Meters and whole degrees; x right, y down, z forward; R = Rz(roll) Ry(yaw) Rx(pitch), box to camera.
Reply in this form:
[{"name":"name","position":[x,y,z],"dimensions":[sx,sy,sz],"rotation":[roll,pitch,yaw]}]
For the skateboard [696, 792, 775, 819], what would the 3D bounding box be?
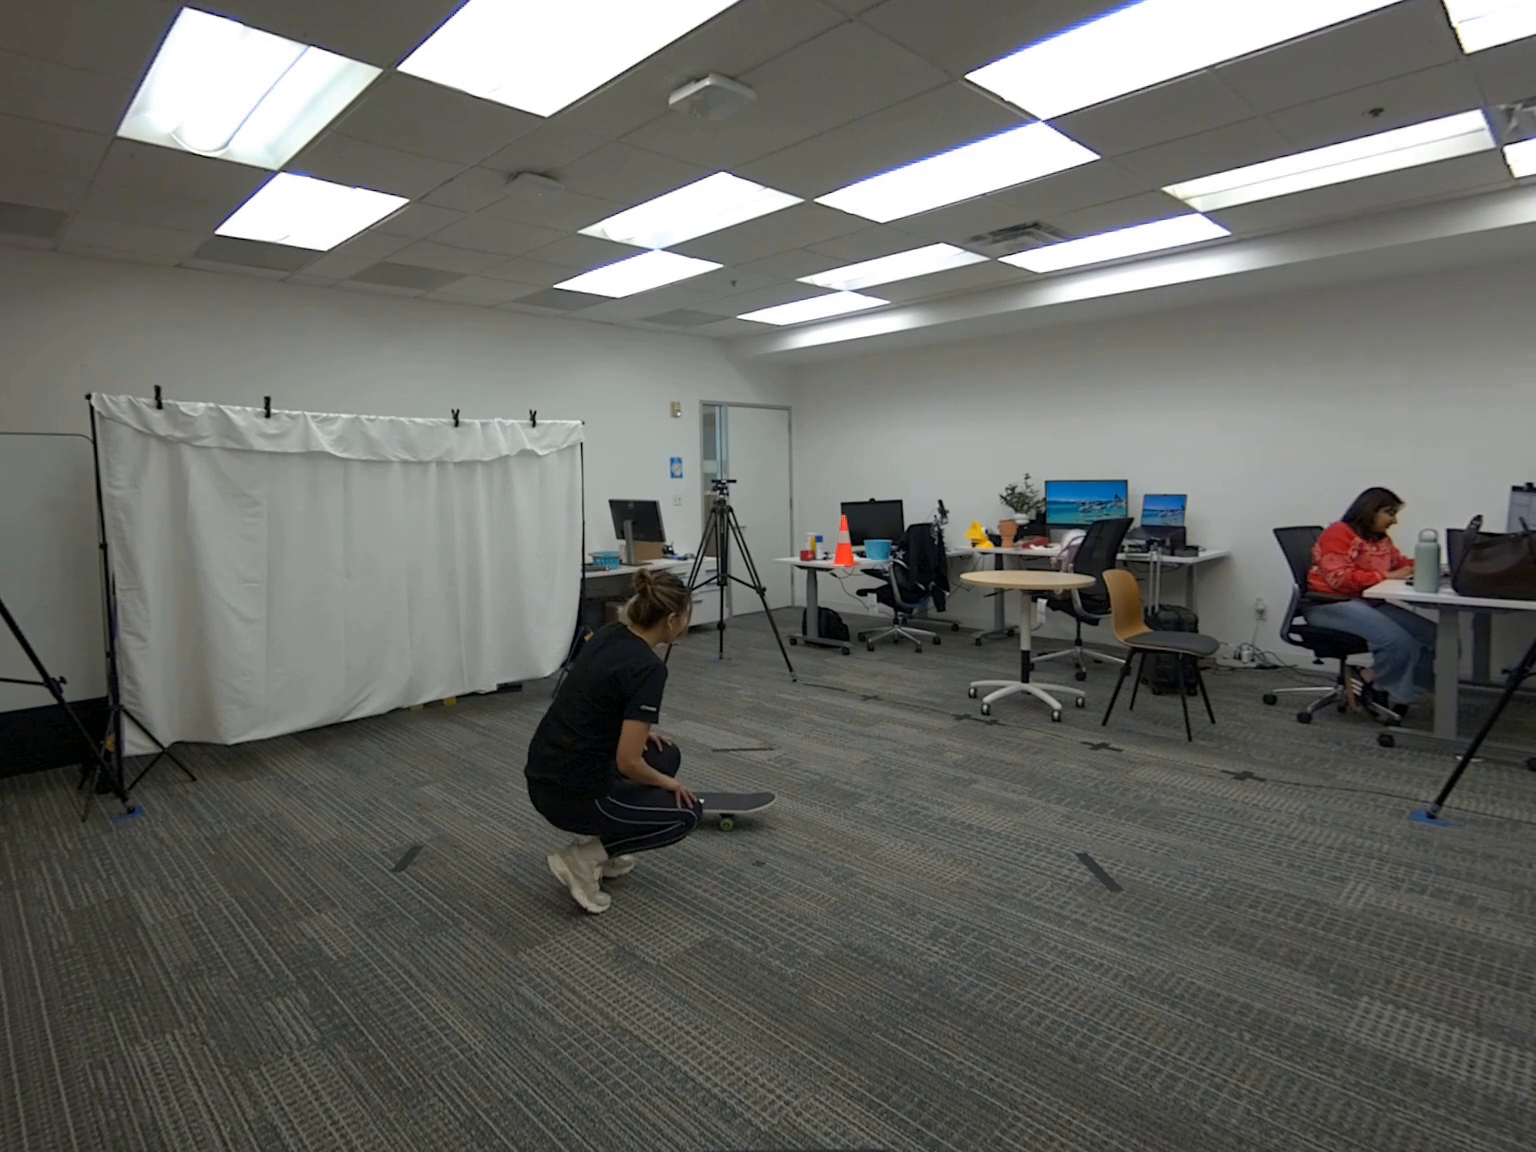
[{"name":"skateboard","position":[-0.353,0.951,3.499],"dimensions":[0.790,0.110,0.193],"rotation":[-1,6,6]}]
